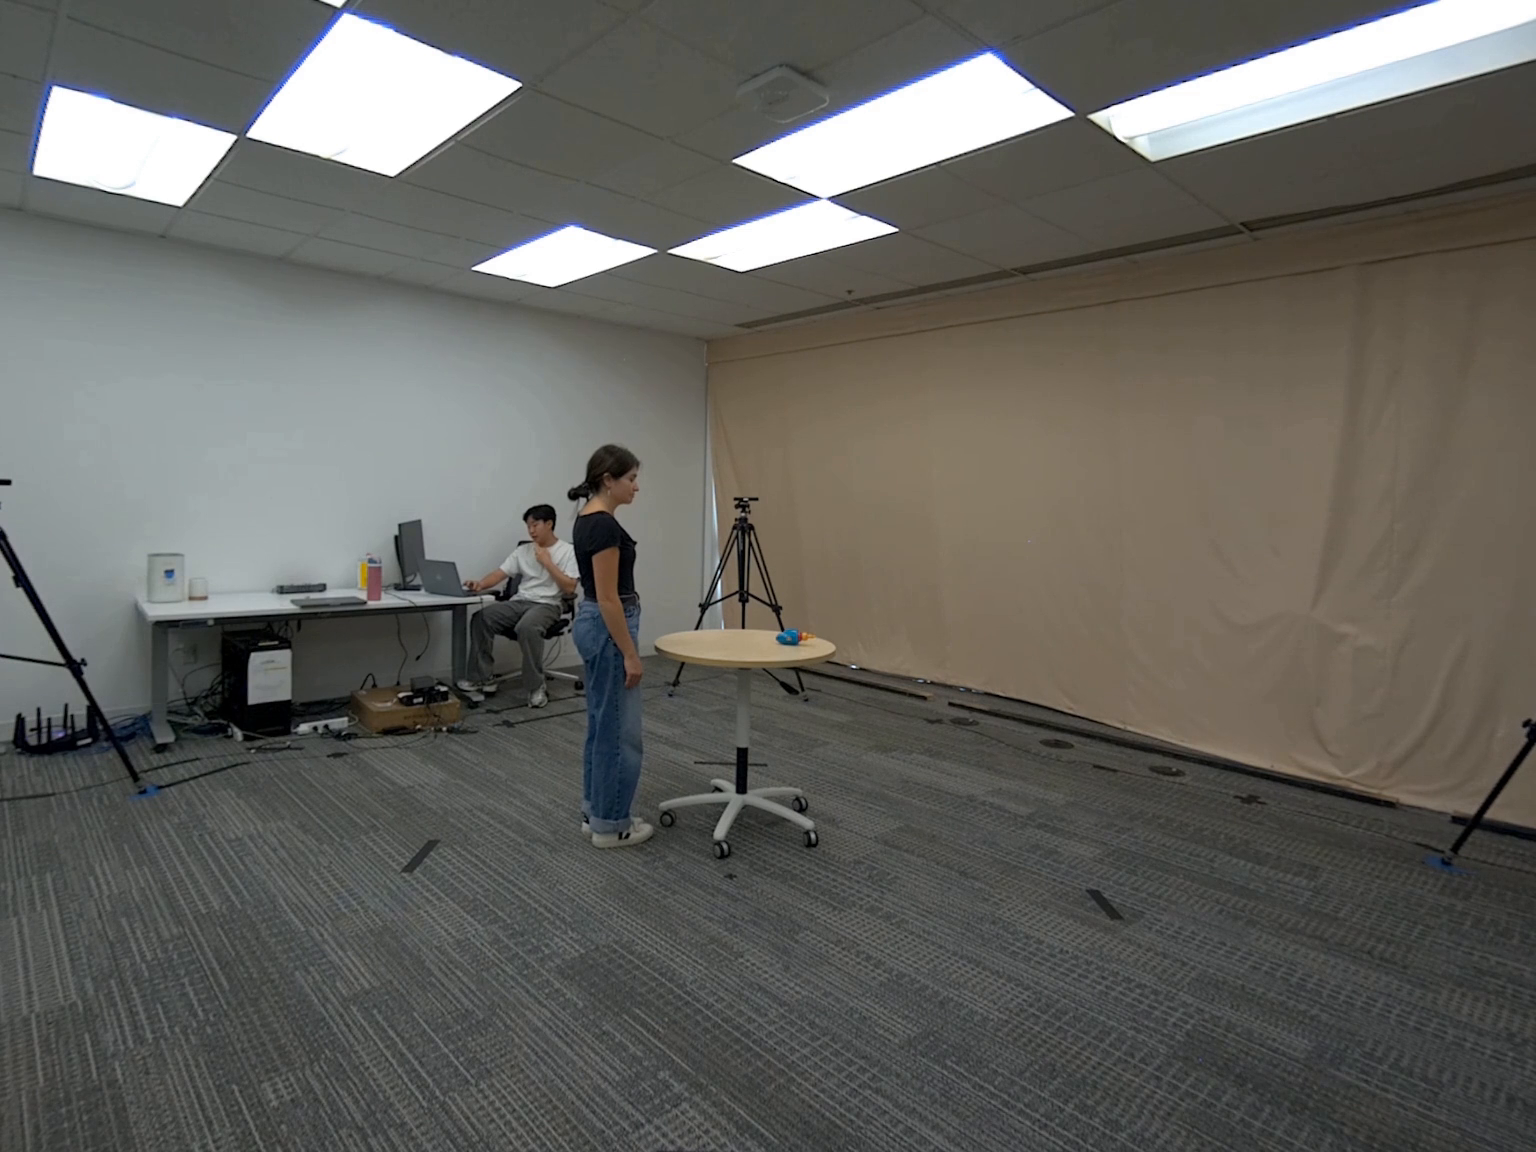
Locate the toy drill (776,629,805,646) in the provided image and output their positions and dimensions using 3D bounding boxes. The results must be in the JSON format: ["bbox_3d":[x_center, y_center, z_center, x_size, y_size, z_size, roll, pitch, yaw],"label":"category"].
[{"bbox_3d":[0.111,0.257,3.603,0.171,0.061,0.145,-6,3,12],"label":"toy drill"}]
